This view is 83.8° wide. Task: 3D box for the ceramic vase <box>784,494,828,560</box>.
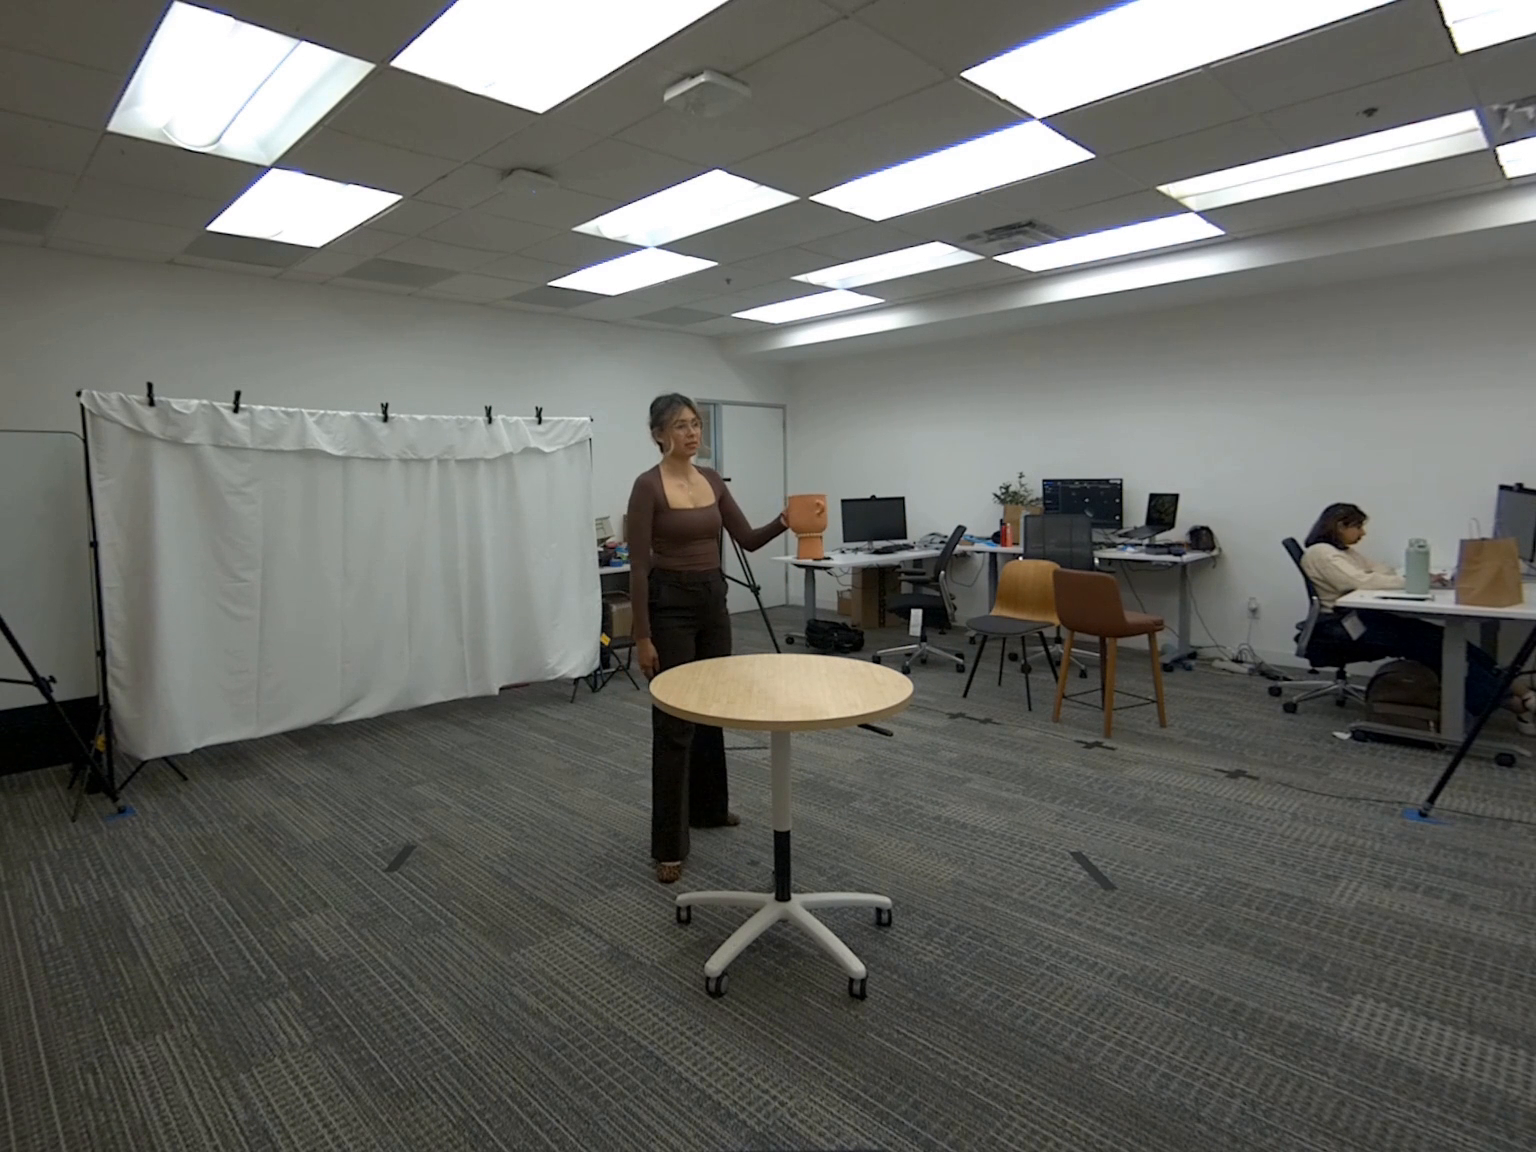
[{"bbox_3d":[0.150,-0.167,2.952,0.136,0.220,0.157,-3,-1,11],"label":"ceramic vase"}]
